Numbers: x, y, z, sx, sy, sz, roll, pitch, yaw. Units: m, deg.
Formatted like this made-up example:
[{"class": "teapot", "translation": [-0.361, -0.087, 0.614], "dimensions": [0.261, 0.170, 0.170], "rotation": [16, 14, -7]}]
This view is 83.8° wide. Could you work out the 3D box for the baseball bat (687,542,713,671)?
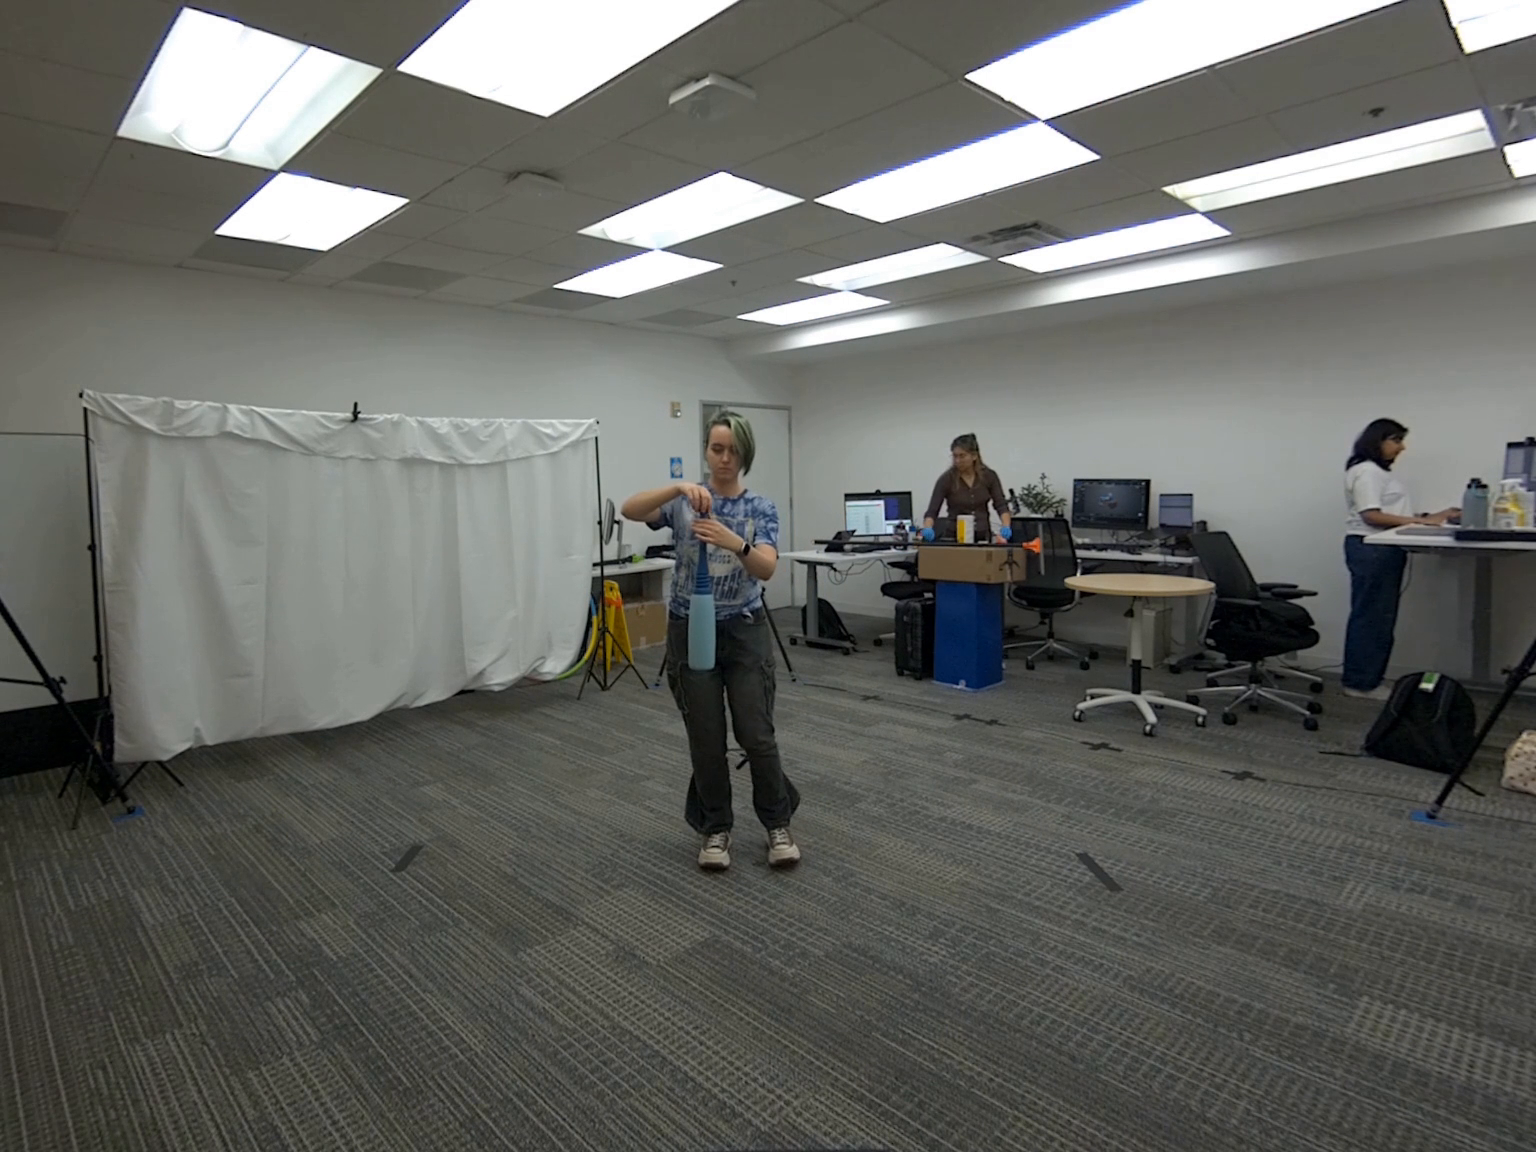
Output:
[{"class": "baseball bat", "translation": [-0.227, 0.041, 2.803], "dimensions": [0.089, 0.542, 0.089], "rotation": [2, 2, -2]}]
